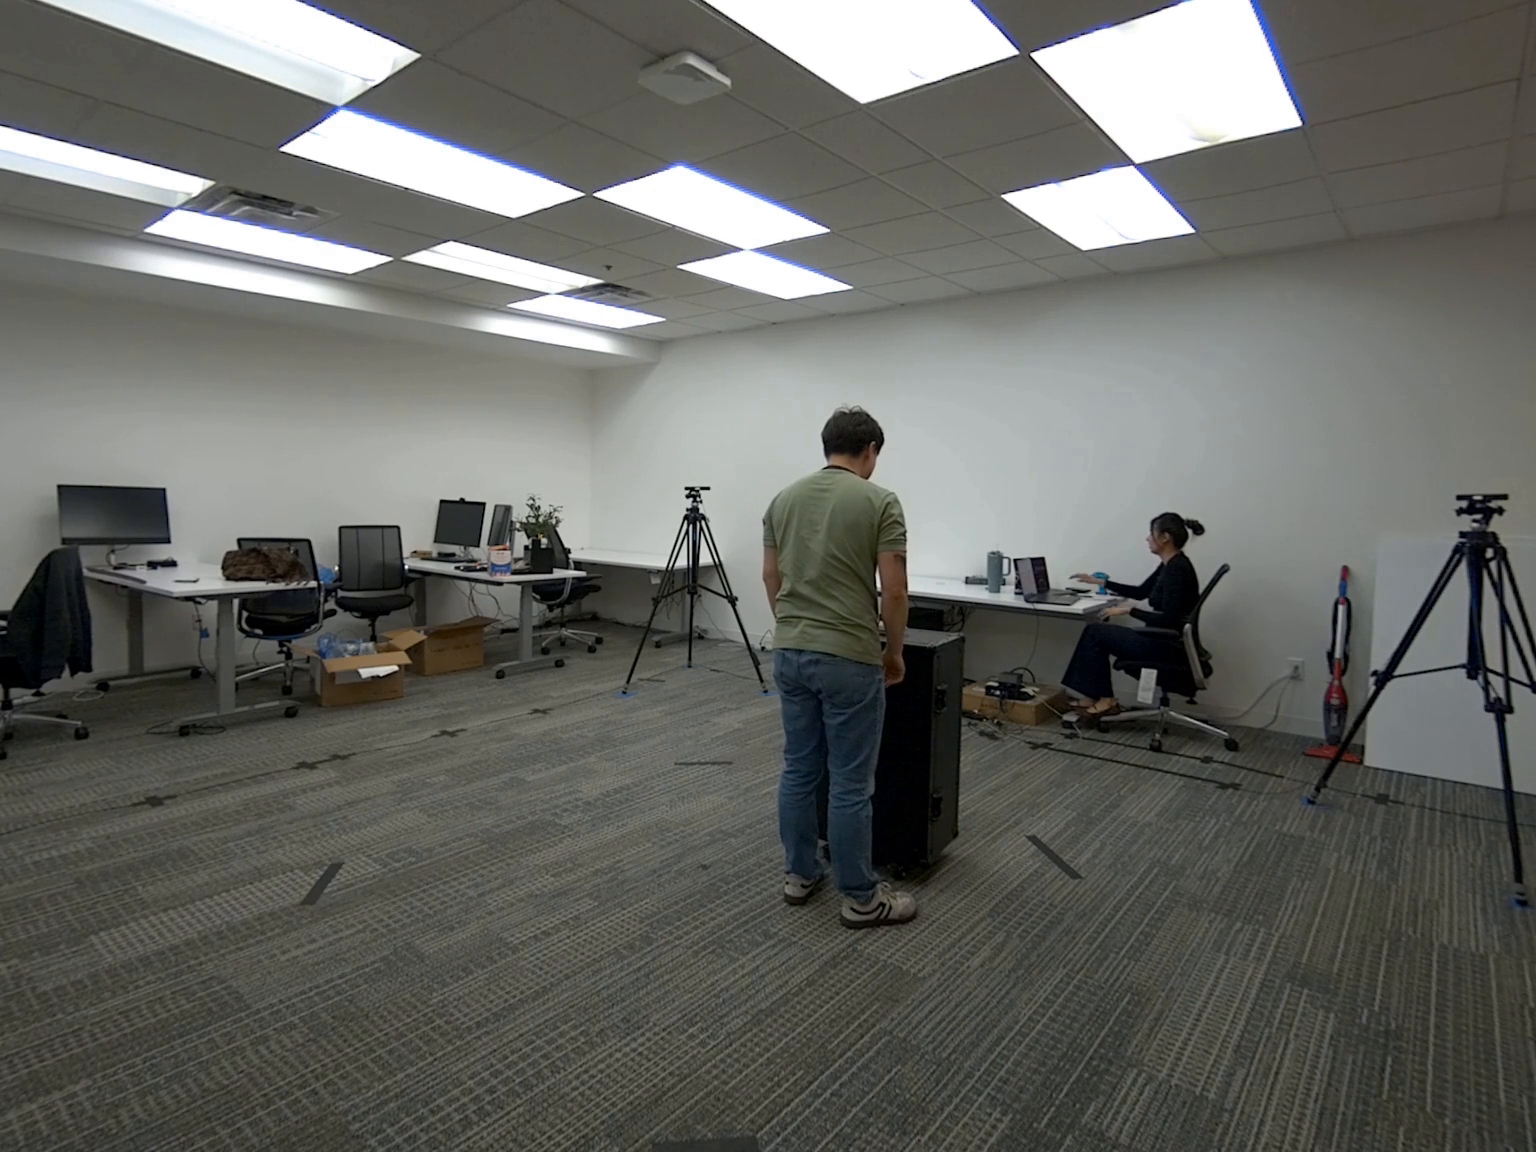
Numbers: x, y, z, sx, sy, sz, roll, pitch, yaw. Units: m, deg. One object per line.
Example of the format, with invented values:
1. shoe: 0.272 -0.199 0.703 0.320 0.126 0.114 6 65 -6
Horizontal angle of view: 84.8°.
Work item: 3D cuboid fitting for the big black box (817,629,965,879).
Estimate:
1. big black box: 0.437 0.640 3.247 0.537 0.860 0.385 3 2 32
